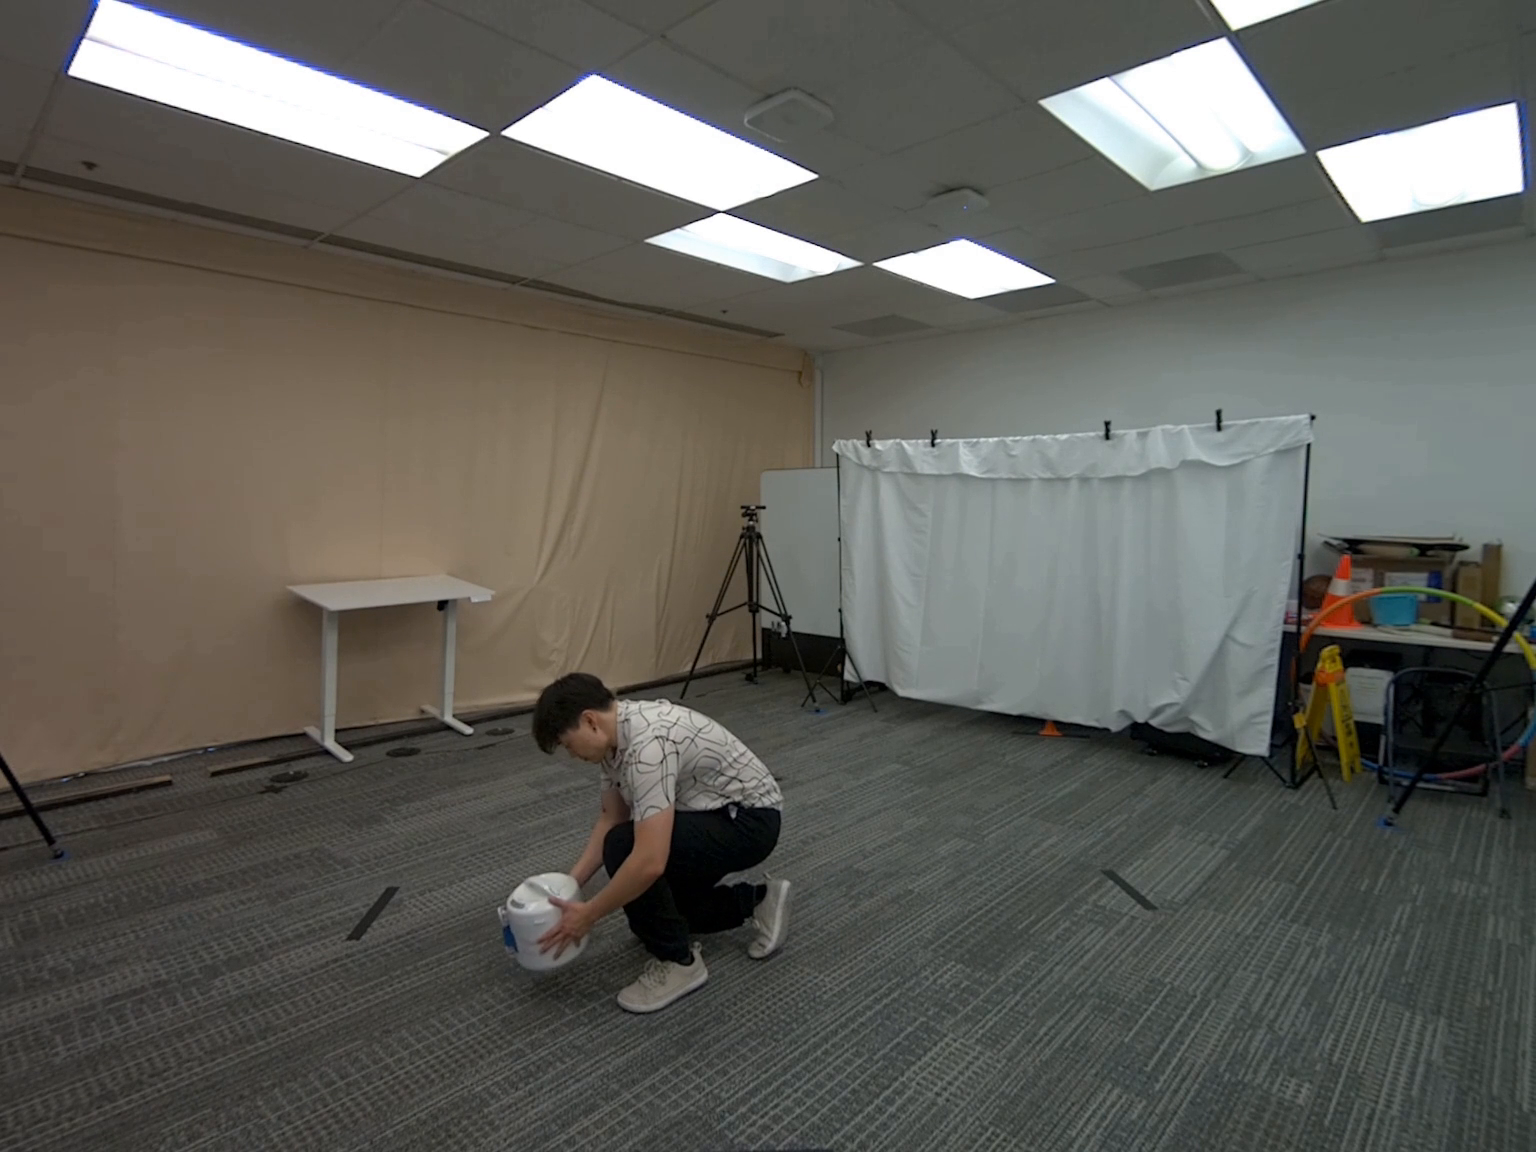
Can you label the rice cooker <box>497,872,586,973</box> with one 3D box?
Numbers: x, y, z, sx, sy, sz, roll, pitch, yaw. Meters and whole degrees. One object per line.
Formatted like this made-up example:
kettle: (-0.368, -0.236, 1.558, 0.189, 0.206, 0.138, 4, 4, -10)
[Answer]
rice cooker: (-0.630, 0.974, 2.429, 0.228, 0.231, 0.212, 1, 13, 43)
